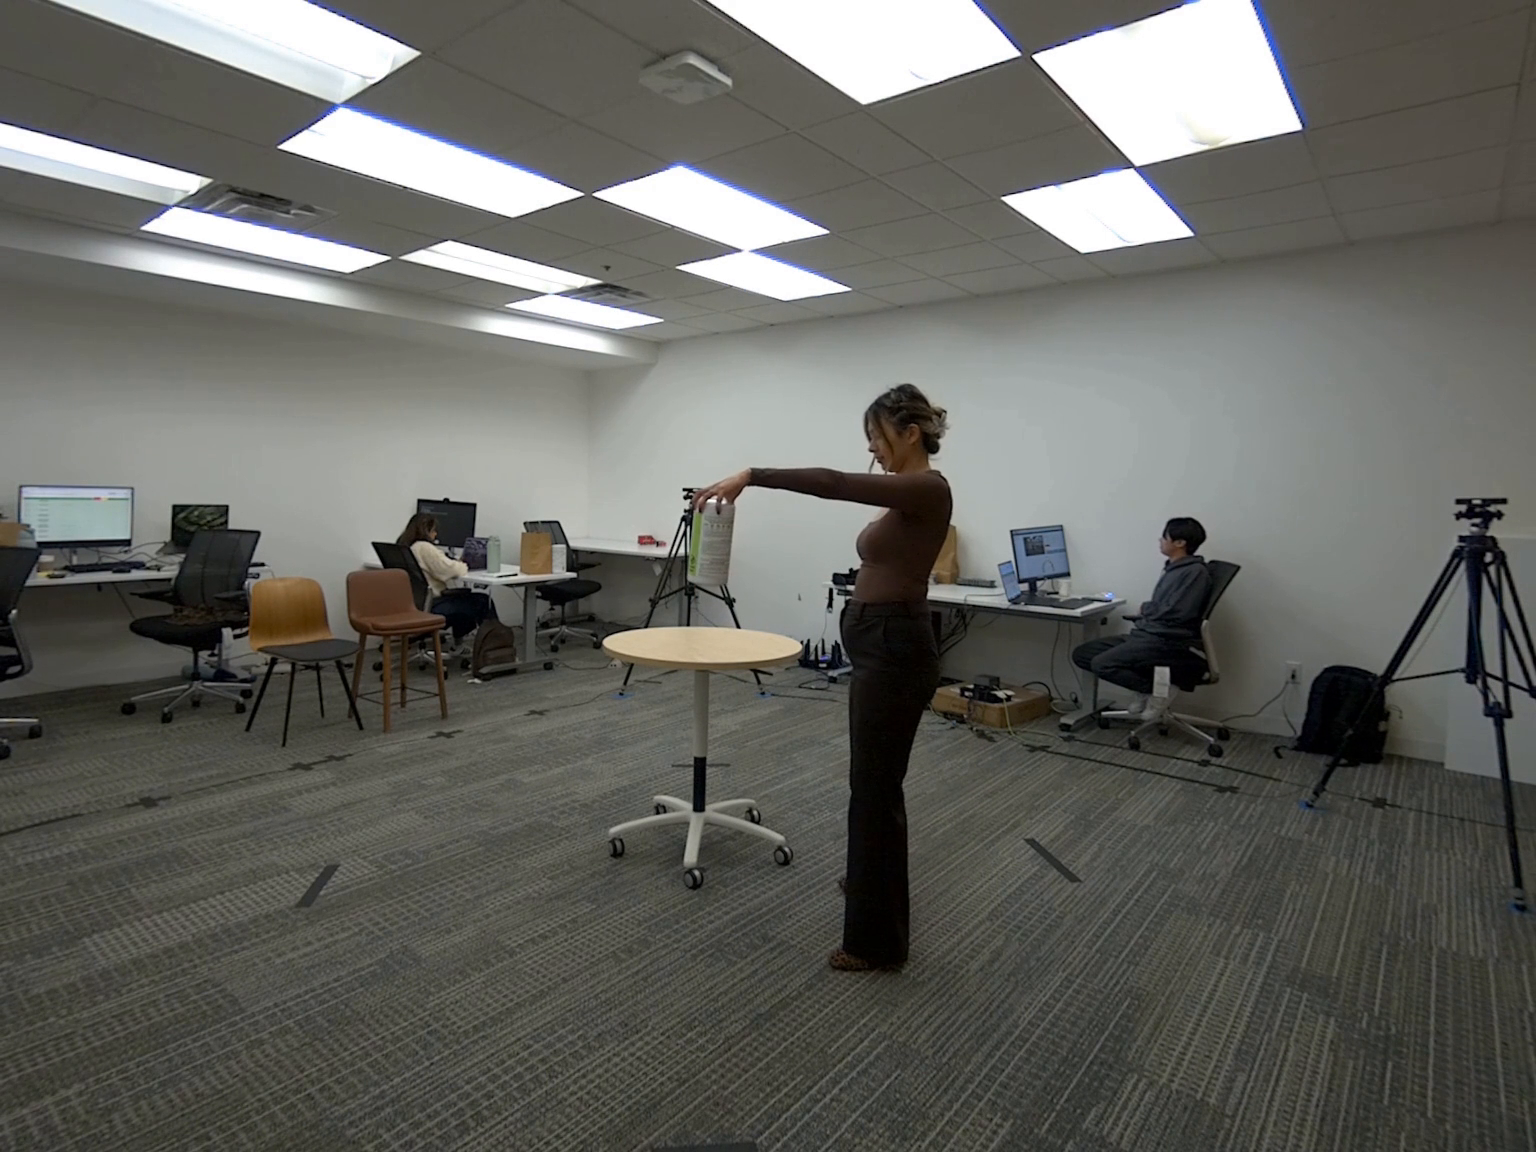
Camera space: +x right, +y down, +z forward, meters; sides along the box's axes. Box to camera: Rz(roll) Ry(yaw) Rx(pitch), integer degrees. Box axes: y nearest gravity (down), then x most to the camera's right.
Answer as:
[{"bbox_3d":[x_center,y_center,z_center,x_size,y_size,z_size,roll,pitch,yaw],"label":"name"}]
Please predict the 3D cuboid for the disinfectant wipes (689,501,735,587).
[{"bbox_3d":[-0.154,-0.092,2.257,0.117,0.216,0.119,4,8,-2],"label":"disinfectant wipes"}]
